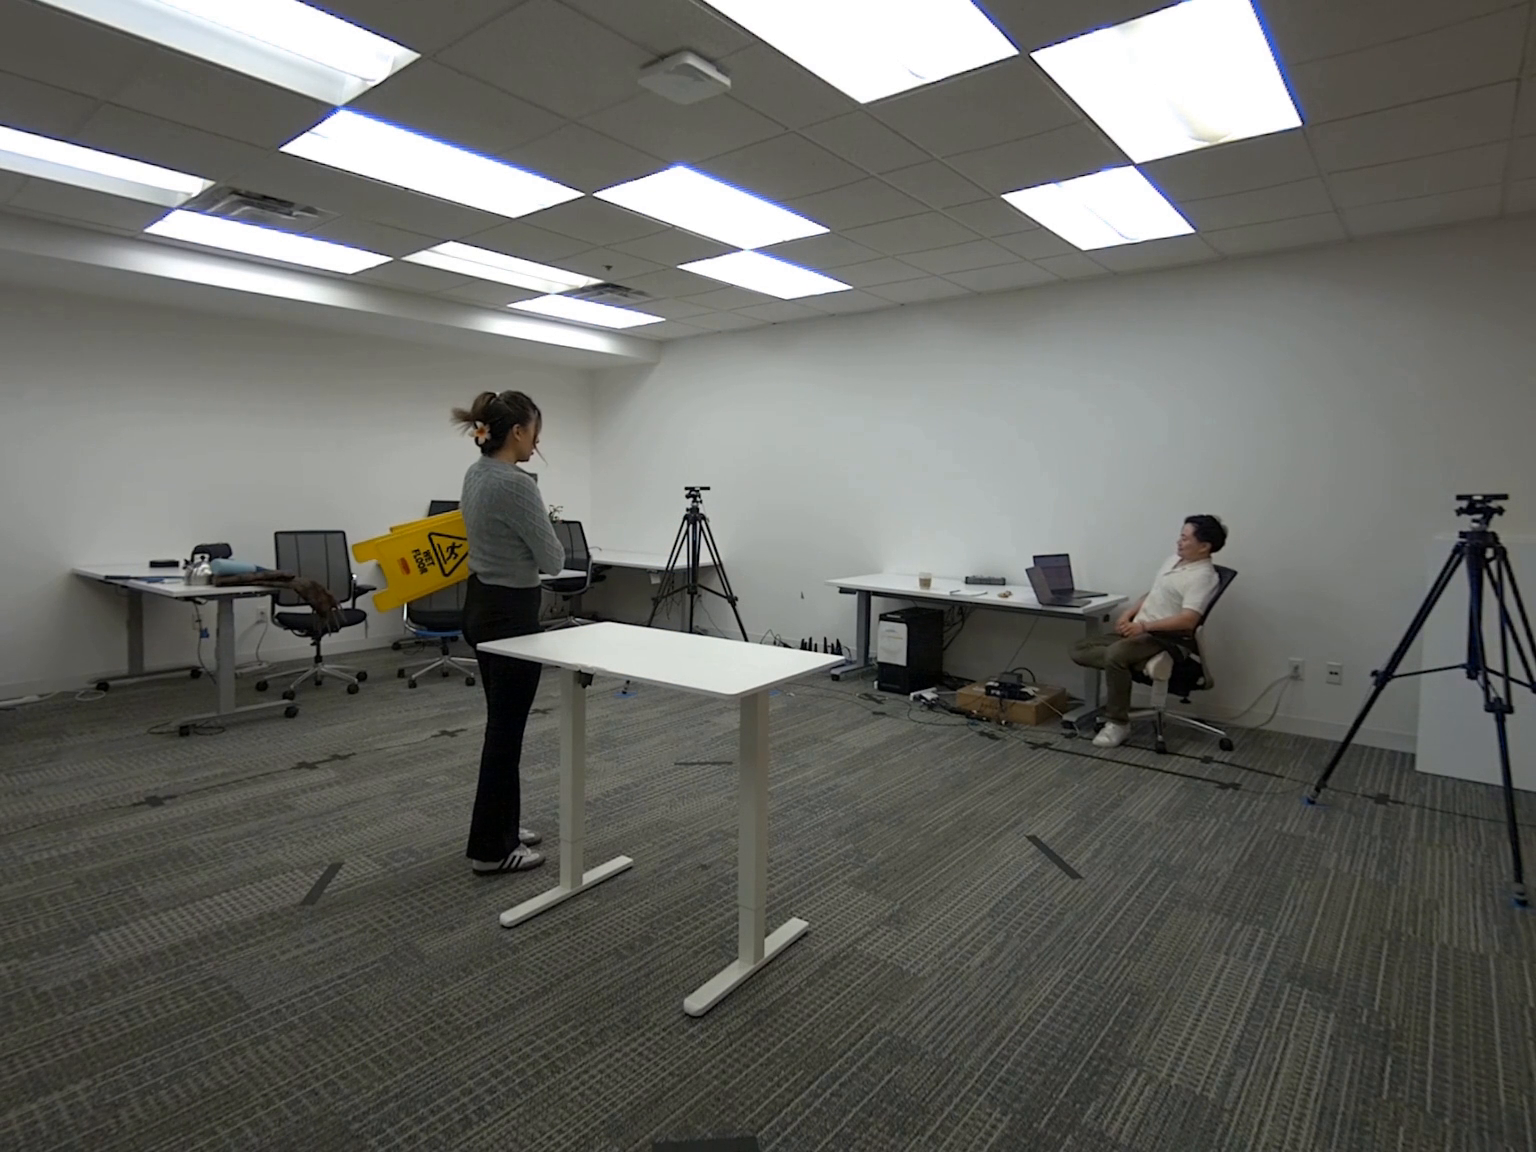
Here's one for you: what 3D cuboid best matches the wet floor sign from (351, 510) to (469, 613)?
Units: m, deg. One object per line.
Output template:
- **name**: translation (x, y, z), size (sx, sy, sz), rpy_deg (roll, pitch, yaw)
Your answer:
- **wet floor sign**: translation (-1.217, -0.118, 3.279), size (0.651, 0.278, 0.291), rpy_deg (-17, 12, 10)
